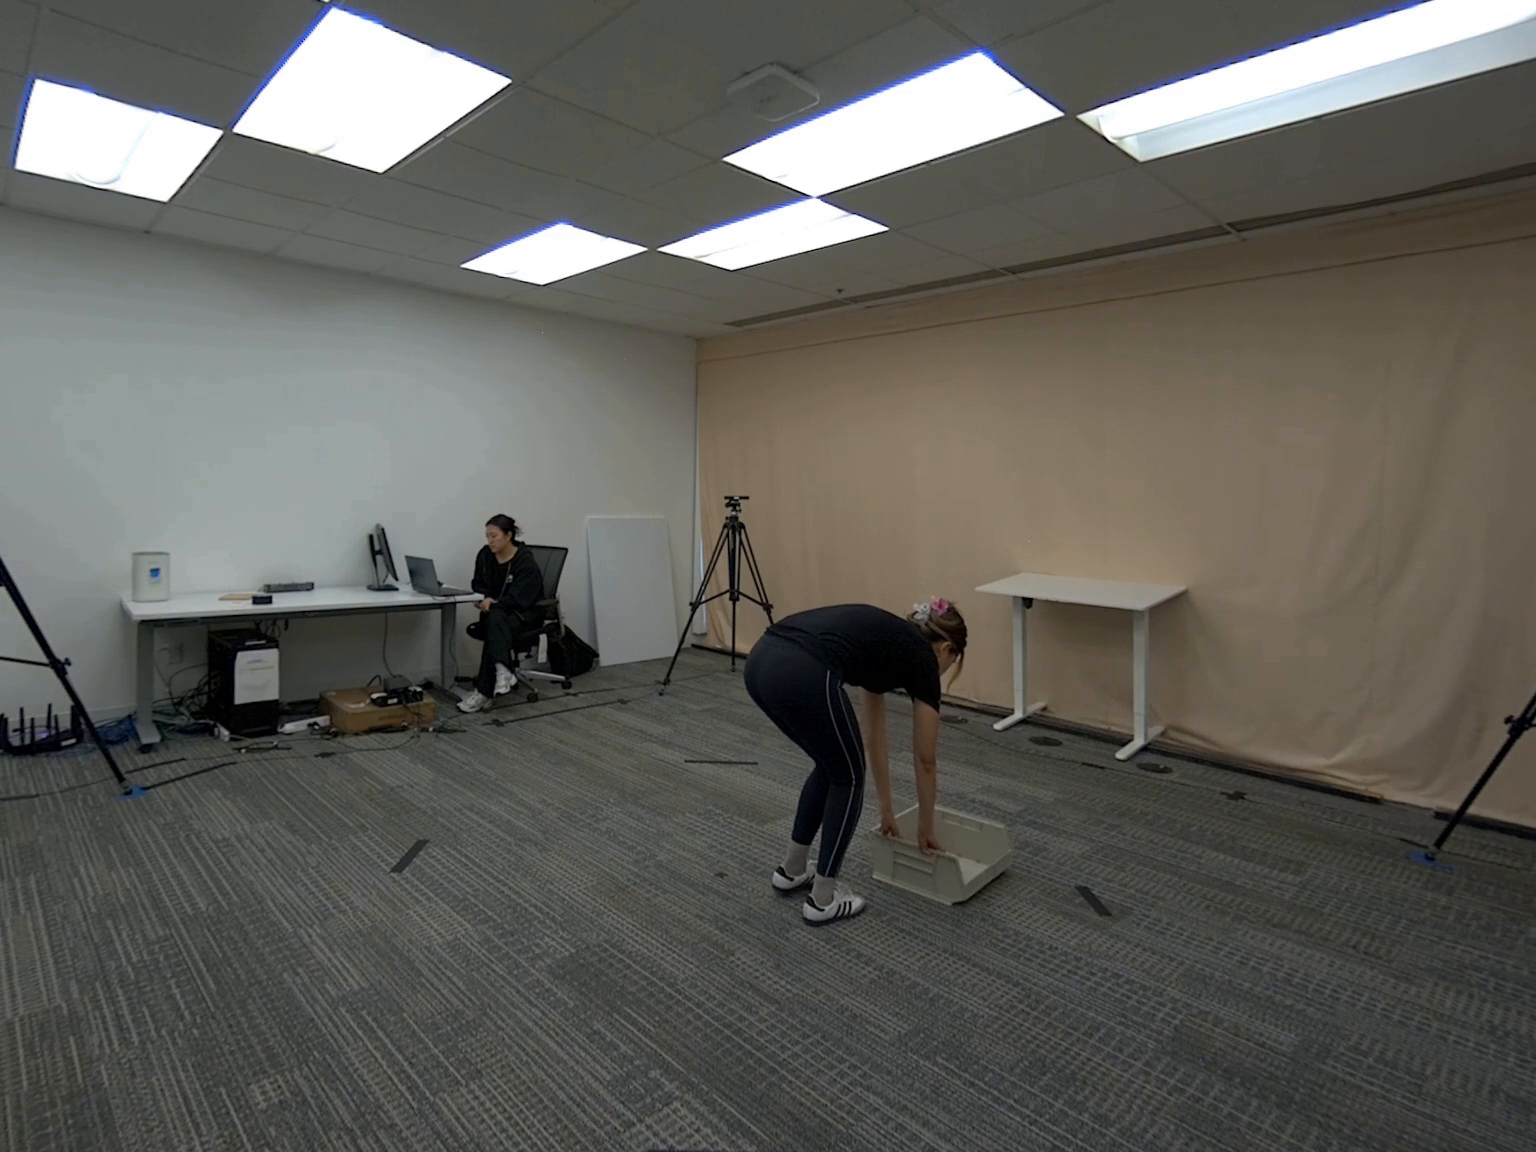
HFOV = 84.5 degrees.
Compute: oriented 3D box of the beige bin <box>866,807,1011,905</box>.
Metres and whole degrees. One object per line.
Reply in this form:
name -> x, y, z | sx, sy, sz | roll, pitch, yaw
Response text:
beige bin -> 0.643, 1.029, 3.148 | 0.386, 0.188, 0.413 | 4, 5, 39
